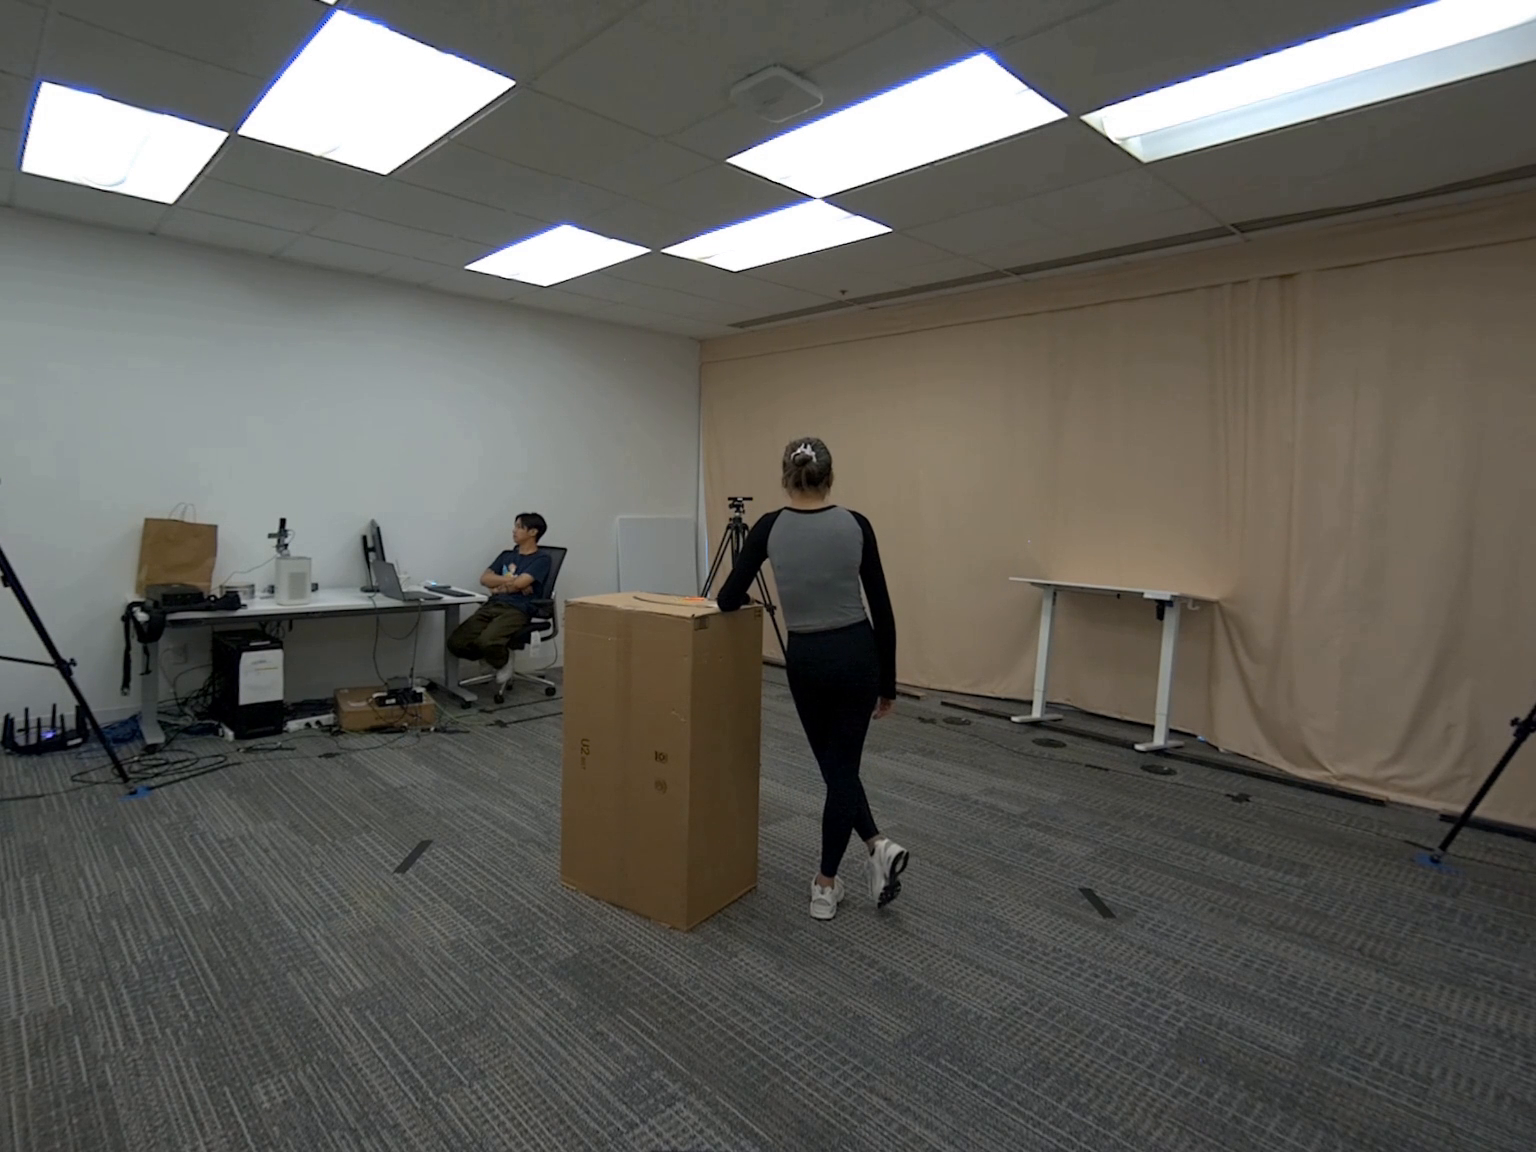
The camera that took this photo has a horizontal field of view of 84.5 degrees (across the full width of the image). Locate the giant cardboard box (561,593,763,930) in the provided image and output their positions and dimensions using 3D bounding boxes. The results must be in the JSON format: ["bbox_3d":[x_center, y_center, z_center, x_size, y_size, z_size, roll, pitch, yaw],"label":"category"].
[{"bbox_3d":[-0.386,0.602,3.001,0.591,1.023,0.417,4,4,34],"label":"giant cardboard box"}]
